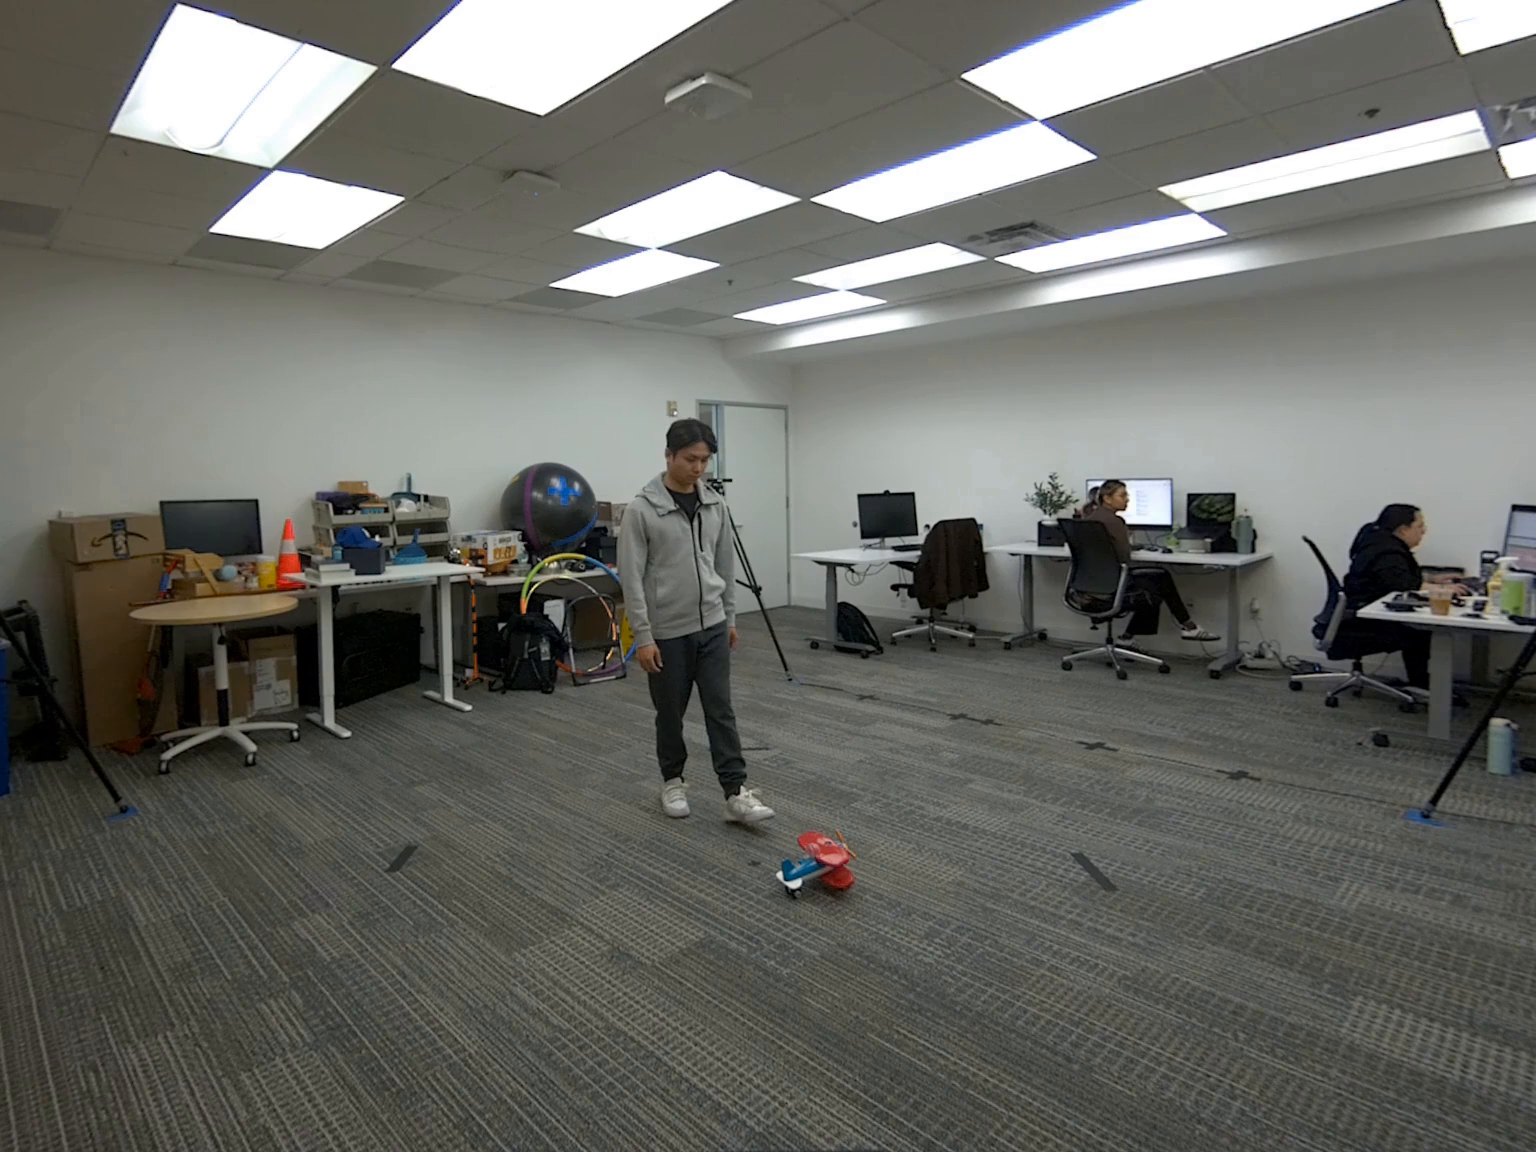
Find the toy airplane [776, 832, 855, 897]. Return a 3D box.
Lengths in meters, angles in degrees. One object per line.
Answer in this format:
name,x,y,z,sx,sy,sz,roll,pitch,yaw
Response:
toy airplane,0.174,0.989,2.884,0.258,0.156,0.253,3,6,35
